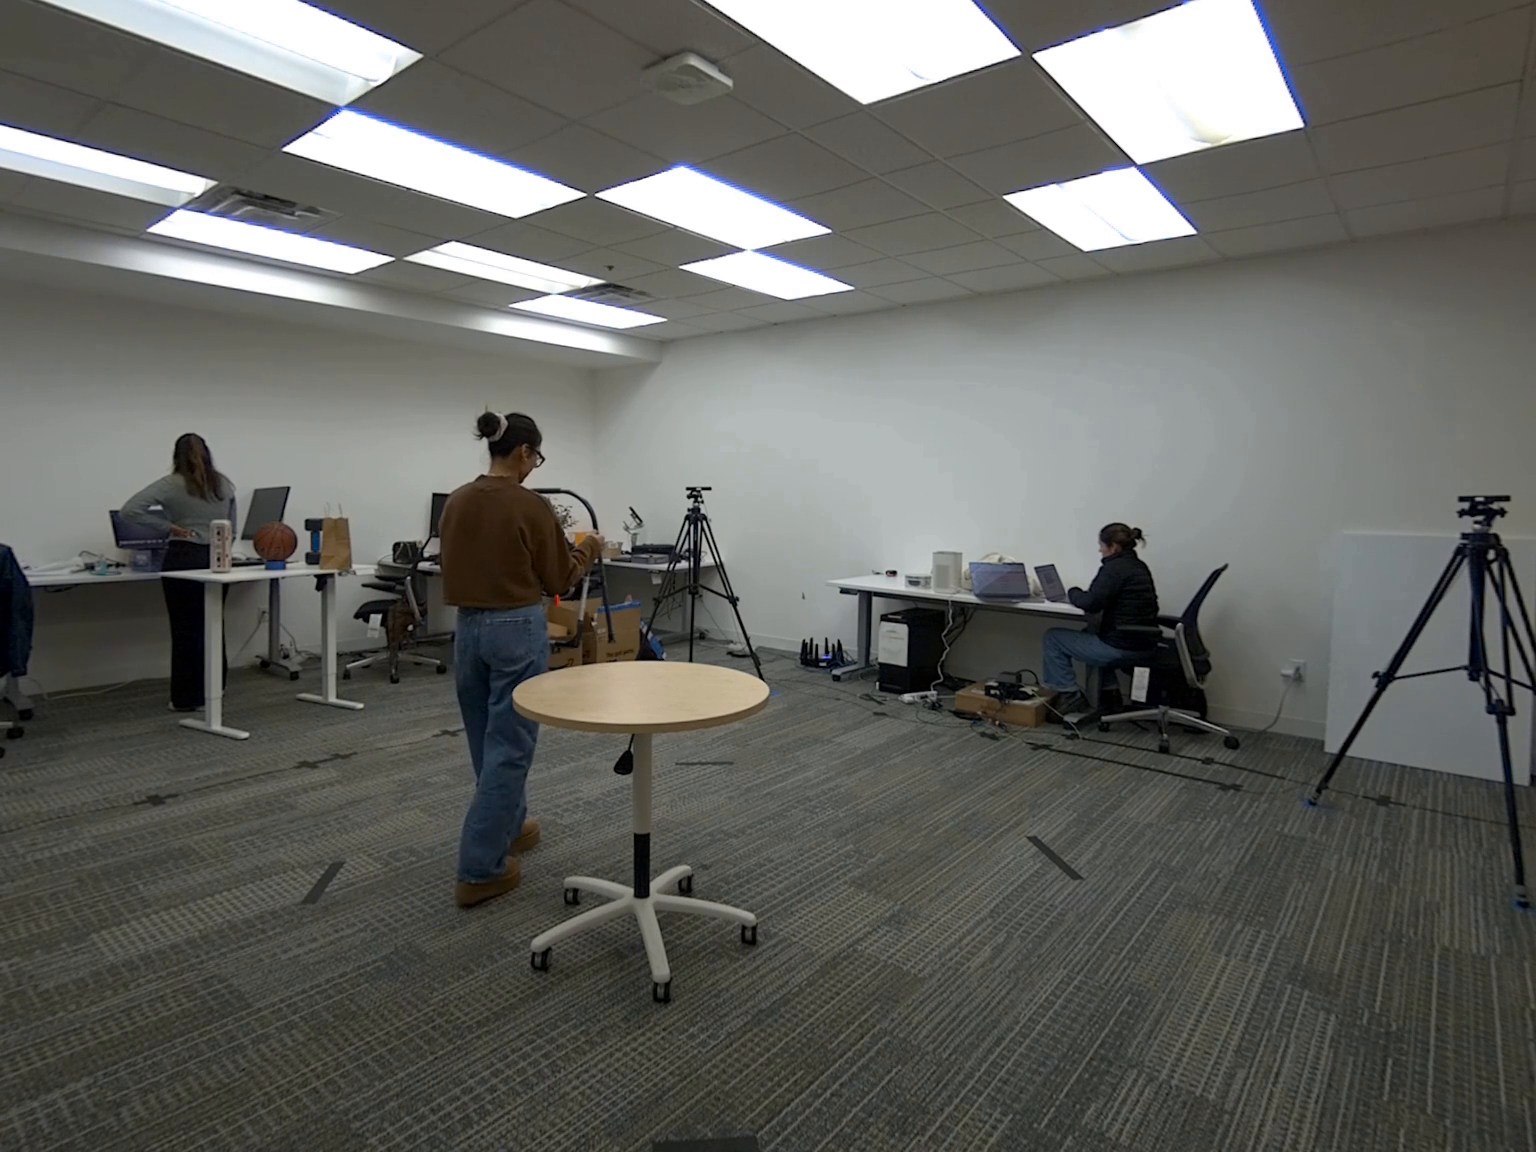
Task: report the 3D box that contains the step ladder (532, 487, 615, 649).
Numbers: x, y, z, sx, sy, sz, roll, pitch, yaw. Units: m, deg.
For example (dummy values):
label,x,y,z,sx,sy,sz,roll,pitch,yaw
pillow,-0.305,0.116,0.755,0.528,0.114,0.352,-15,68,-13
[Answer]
label,x,y,z,sx,sy,sz,roll,pitch,yaw
step ladder,-0.873,-0.038,3.363,0.438,0.607,0.343,1,-2,15
